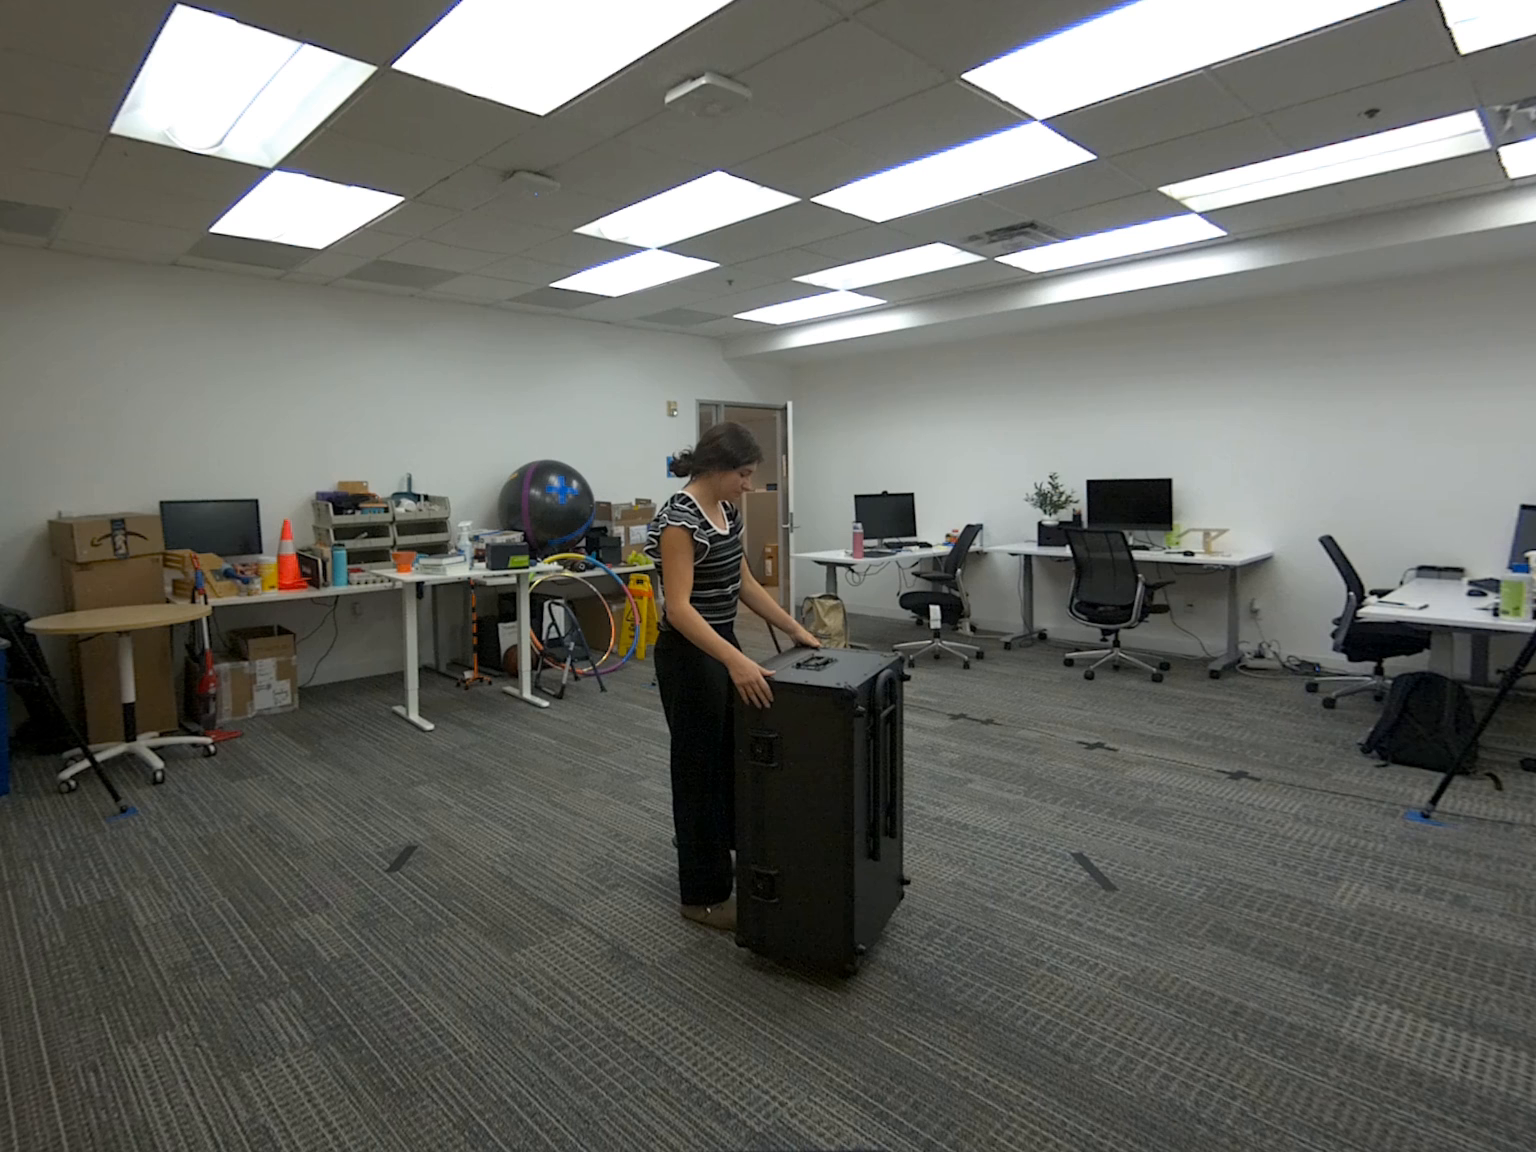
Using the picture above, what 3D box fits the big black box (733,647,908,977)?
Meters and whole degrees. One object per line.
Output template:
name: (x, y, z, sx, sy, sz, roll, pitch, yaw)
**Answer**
big black box: (0.184, 0.687, 2.536, 0.406, 0.857, 0.511, 2, 6, 25)
